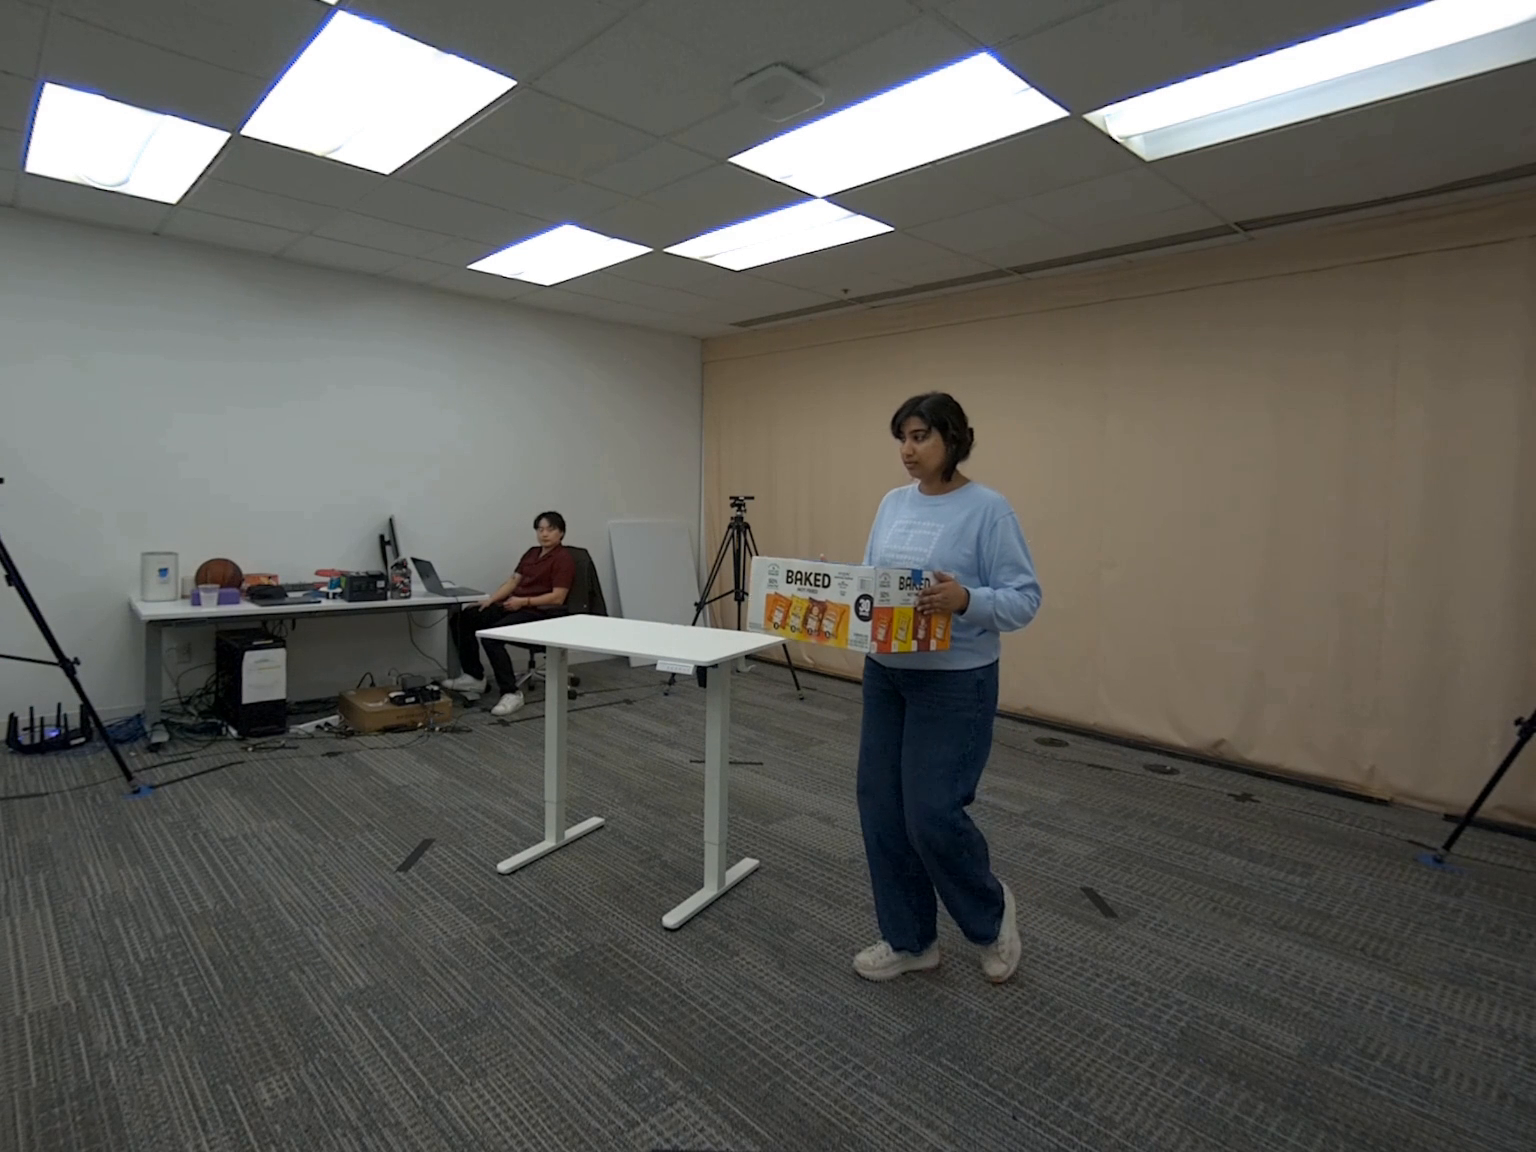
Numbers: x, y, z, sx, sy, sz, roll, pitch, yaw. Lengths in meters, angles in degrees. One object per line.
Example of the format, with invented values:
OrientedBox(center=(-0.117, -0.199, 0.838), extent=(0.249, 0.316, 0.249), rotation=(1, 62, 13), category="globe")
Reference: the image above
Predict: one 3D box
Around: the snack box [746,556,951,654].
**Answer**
OrientedBox(center=(0.205, 0.075, 2.199), extent=(0.415, 0.206, 0.332), rotation=(6, 1, 45), category="snack box")
